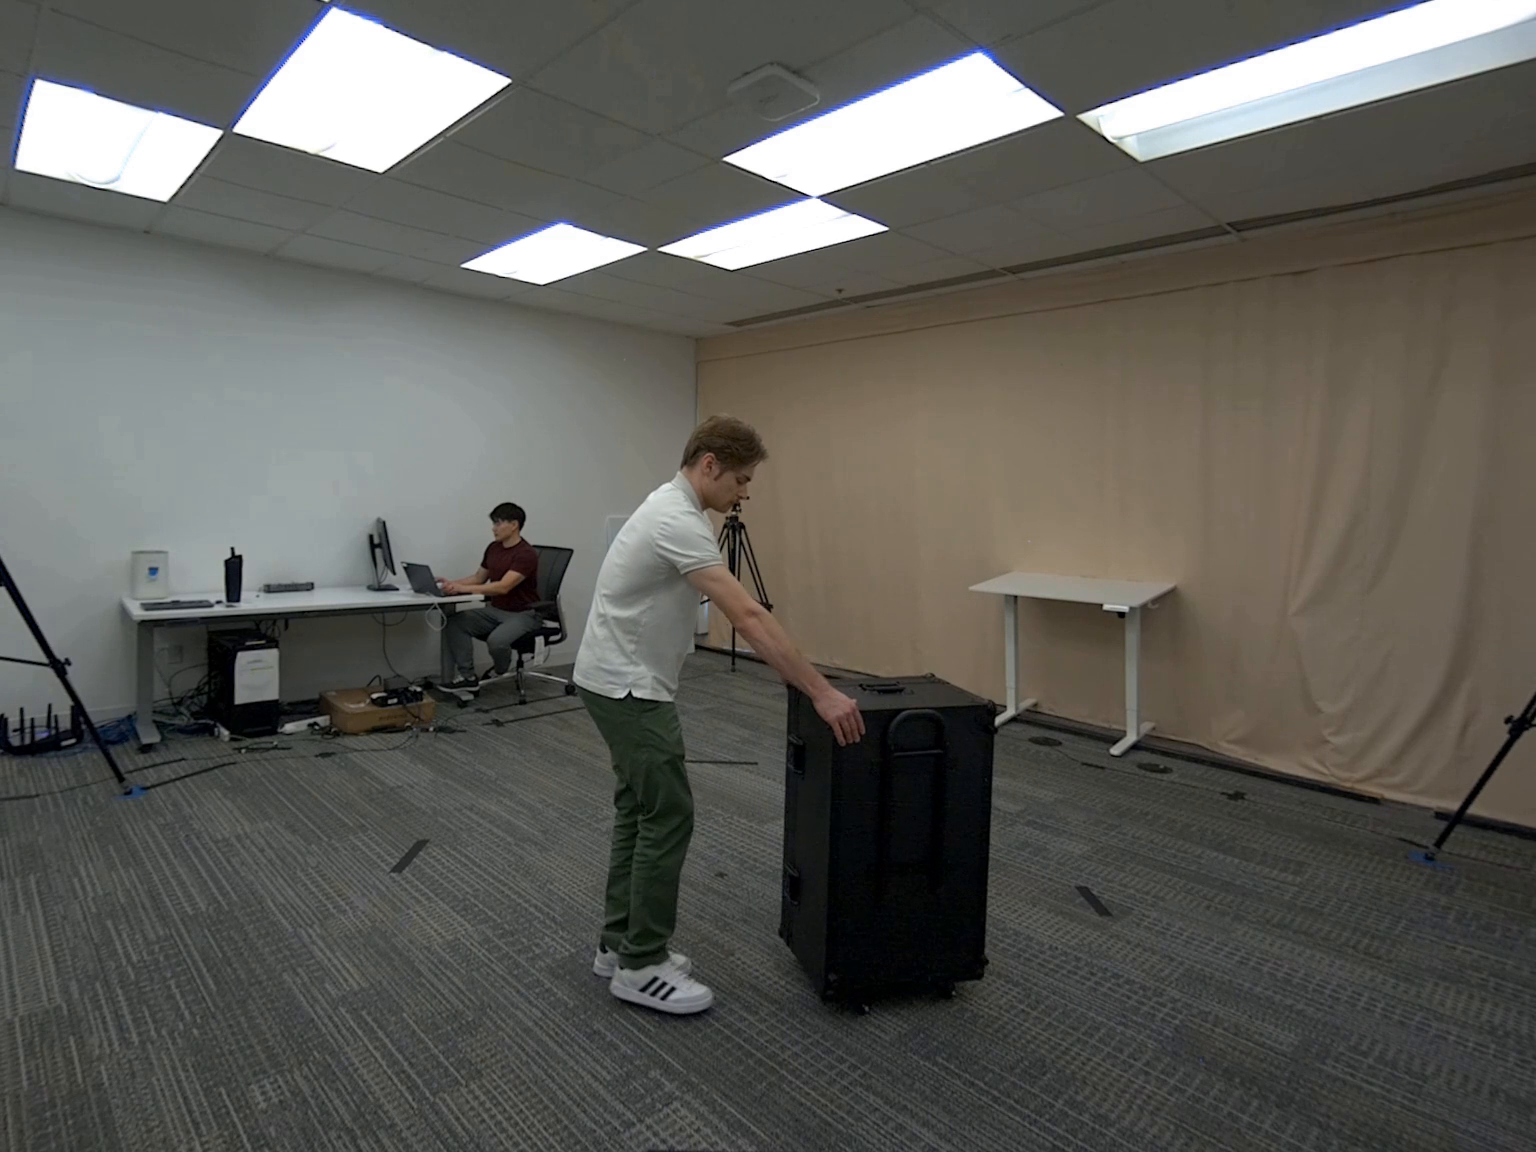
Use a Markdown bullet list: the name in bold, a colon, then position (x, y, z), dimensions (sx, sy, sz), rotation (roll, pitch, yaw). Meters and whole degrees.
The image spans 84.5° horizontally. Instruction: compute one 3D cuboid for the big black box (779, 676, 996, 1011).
- **big black box**: position (0.337, 0.758, 2.427), dimensions (0.516, 0.866, 0.391), rotation (0, 5, -18)
